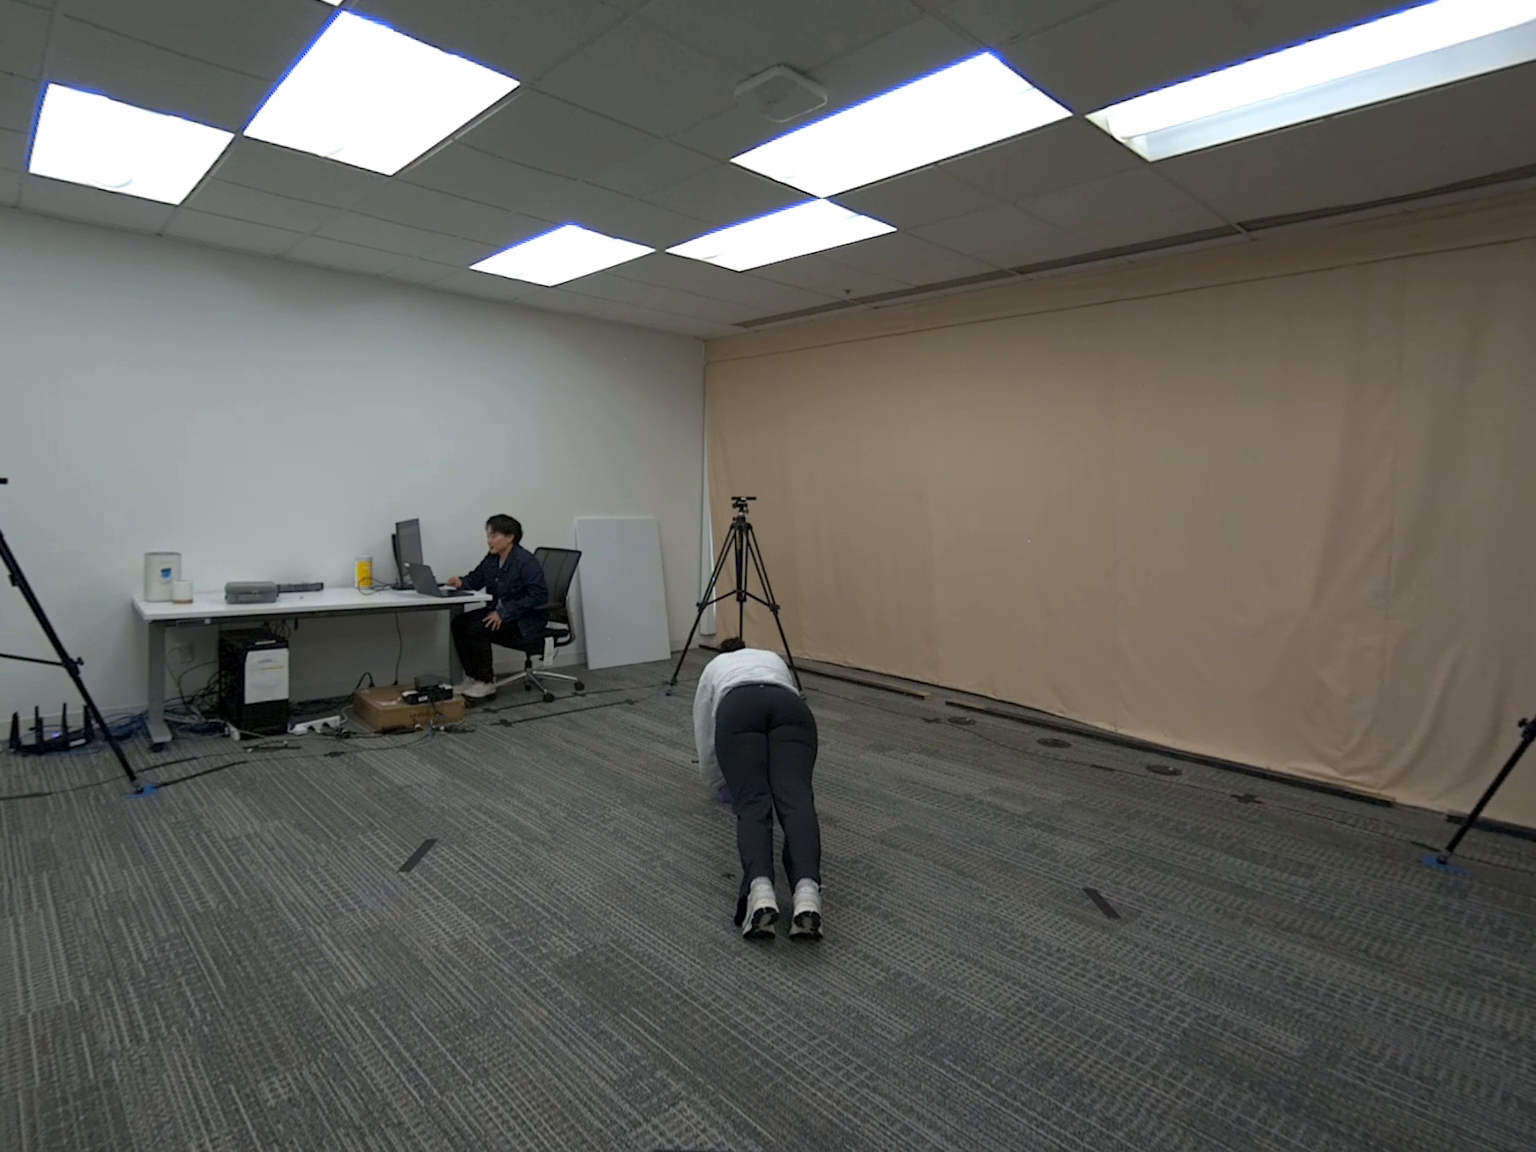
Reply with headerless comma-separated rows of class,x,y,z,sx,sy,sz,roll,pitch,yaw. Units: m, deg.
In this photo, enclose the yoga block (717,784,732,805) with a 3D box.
yoga block,-0.128,1.007,3.947,0.227,0.076,0.151,0,4,-12
